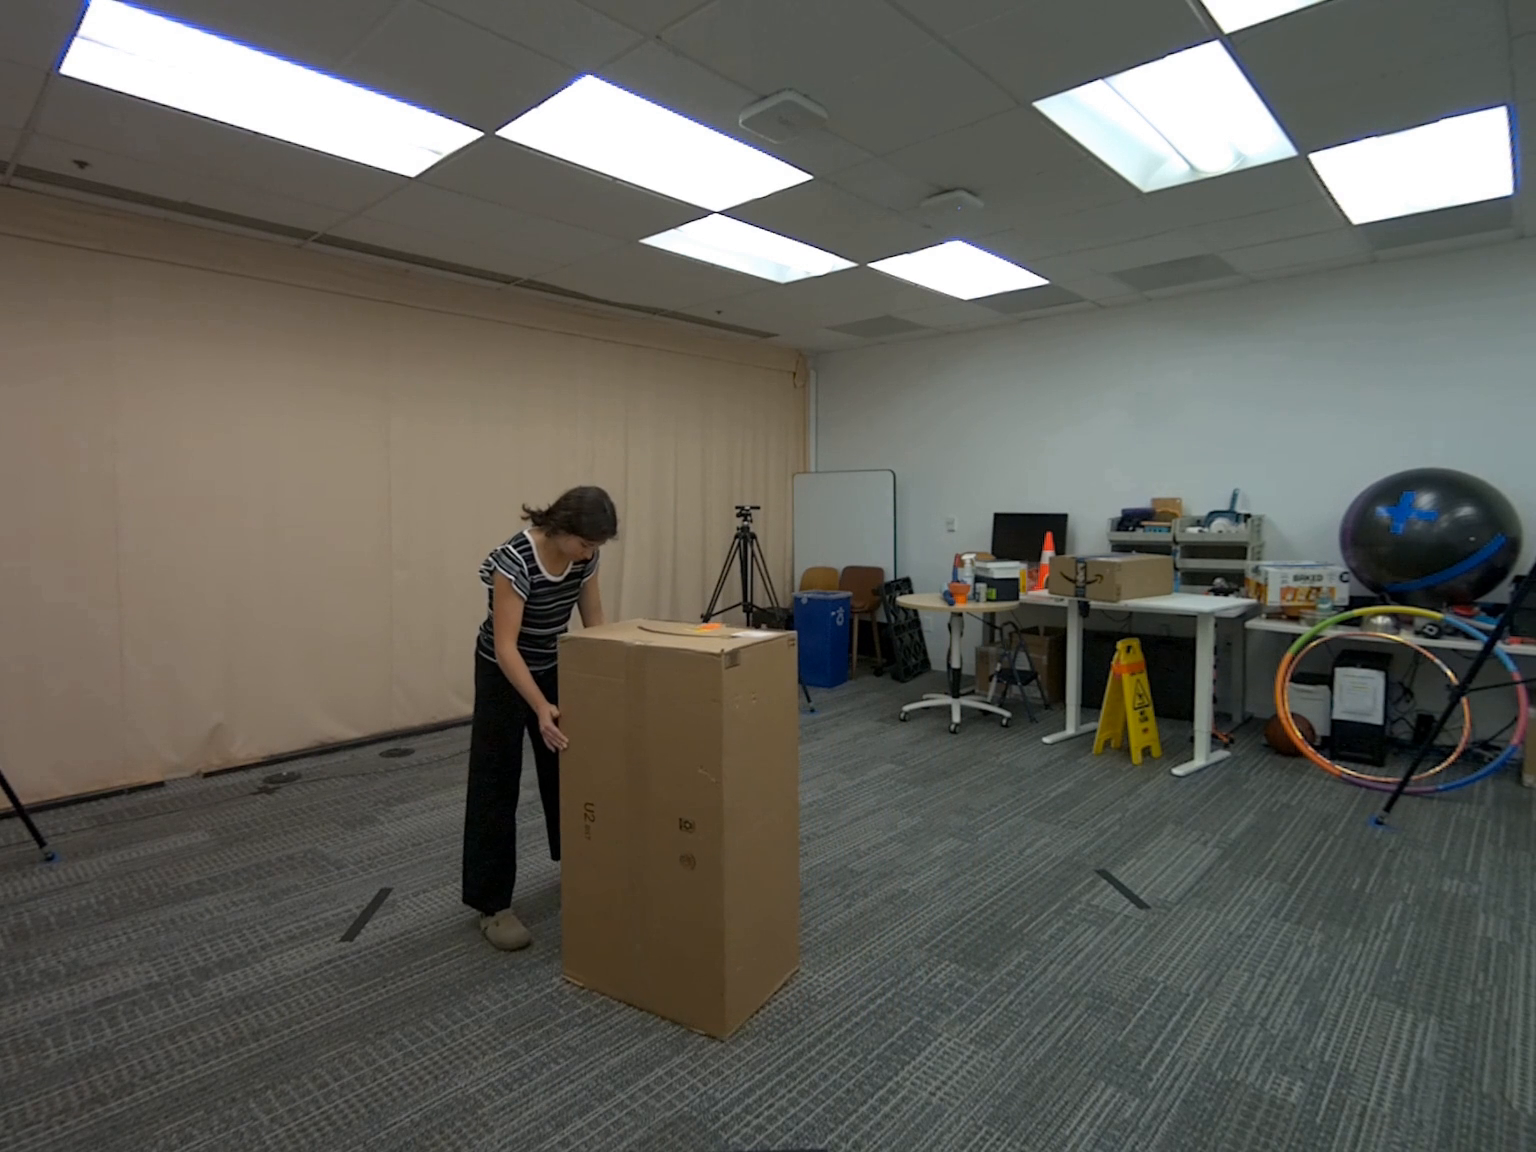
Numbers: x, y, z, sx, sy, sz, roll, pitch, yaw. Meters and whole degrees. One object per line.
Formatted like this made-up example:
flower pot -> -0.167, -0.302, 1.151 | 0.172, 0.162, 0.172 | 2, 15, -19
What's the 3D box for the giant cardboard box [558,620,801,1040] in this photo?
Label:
giant cardboard box -> -0.255, 0.680, 2.488 | 0.594, 1.024, 0.414 | 1, 3, 31
